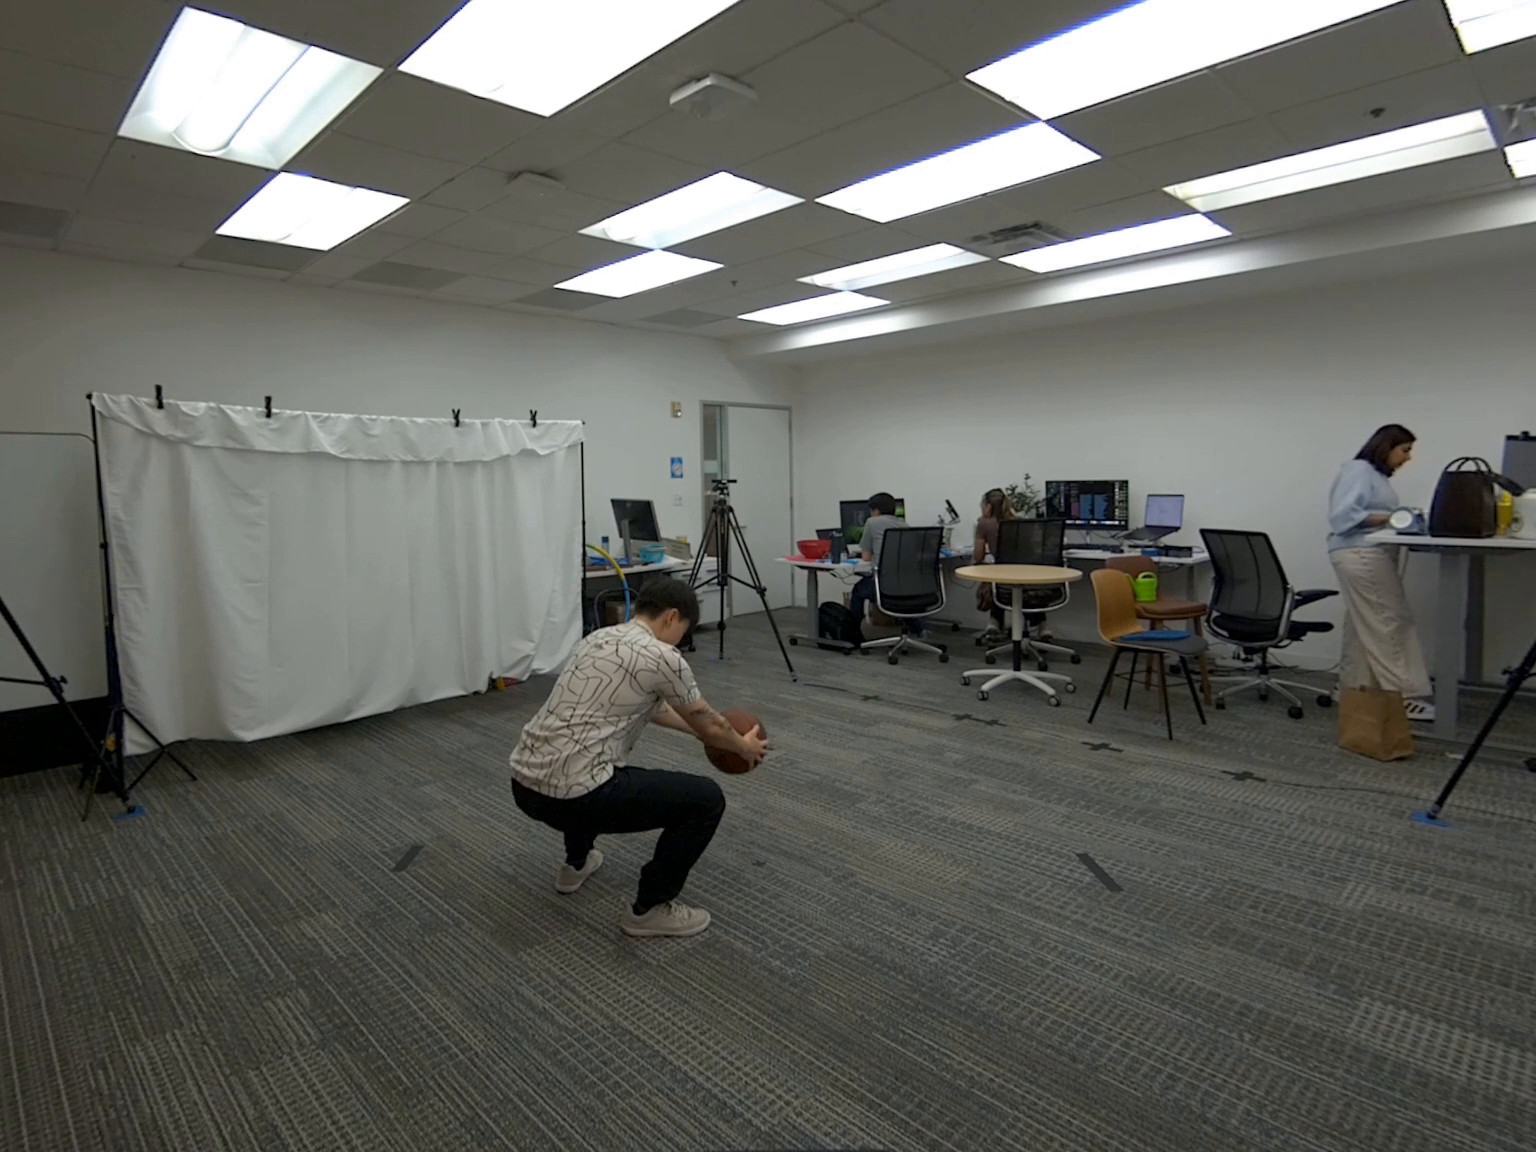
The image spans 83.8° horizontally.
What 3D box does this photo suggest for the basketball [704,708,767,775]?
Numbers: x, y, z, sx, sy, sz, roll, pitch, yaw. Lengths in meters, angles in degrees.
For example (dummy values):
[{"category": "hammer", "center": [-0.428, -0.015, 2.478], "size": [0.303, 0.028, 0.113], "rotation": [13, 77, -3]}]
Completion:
[{"category": "basketball", "center": [-0.122, 0.618, 3.184], "size": [0.236, 0.235, 0.237], "rotation": [-1, 5, -2]}]
